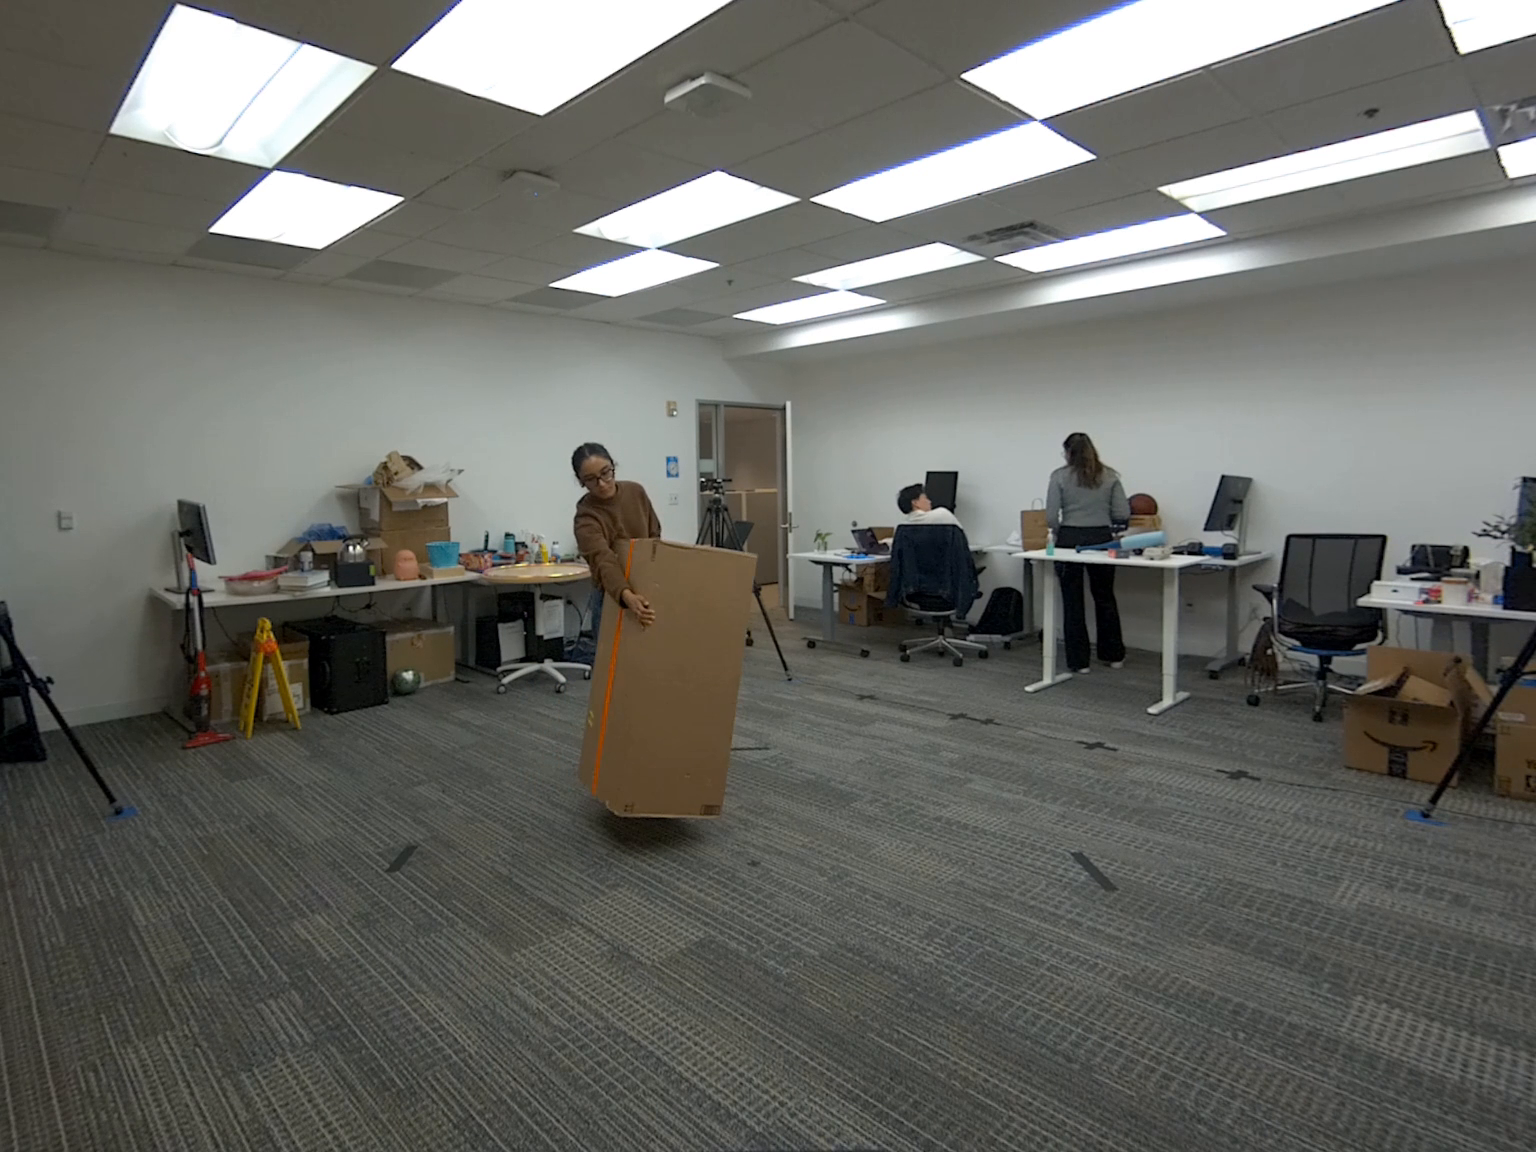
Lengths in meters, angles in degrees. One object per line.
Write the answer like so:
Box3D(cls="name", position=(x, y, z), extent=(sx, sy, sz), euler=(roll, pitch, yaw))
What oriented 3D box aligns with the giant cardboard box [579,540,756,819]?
Box3D(cls="giant cardboard box", position=(-0.425, 0.393, 3.477), extent=(0.415, 1.029, 0.591), euler=(10, -4, -26))
